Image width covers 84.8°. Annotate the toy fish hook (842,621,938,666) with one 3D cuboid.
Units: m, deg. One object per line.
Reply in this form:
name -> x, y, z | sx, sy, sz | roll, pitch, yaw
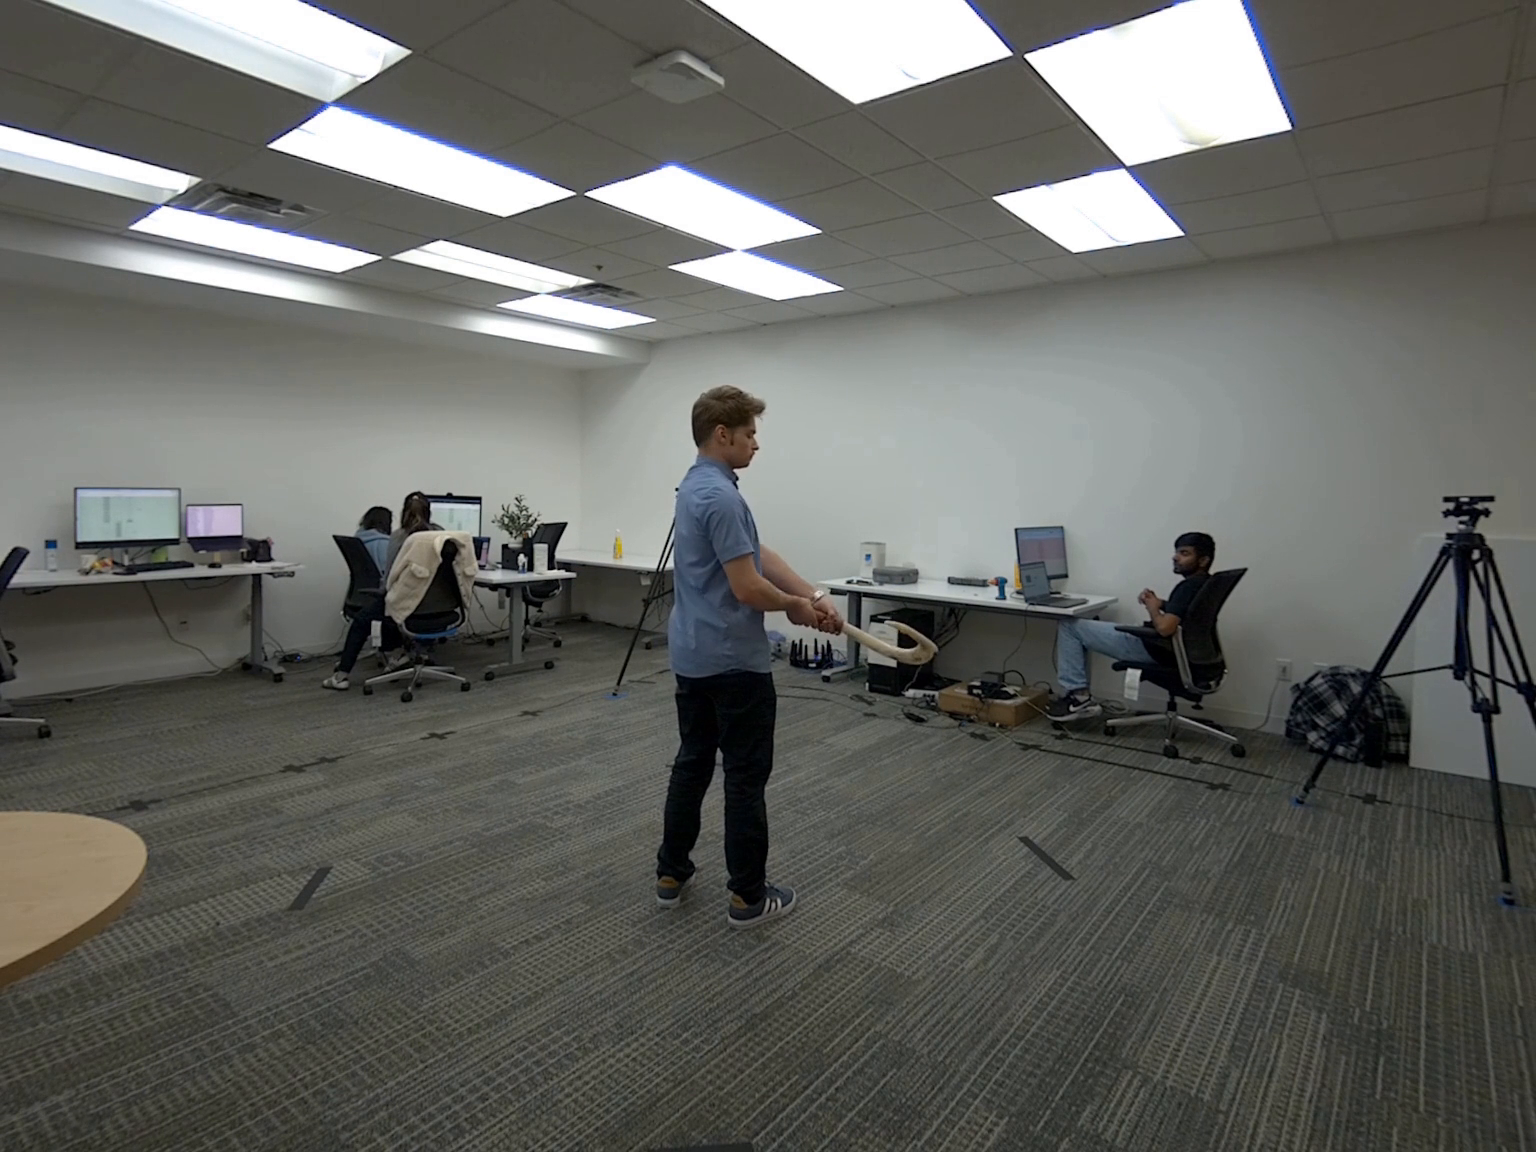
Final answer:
toy fish hook -> 0.286, 0.166, 2.801 | 0.515, 0.049, 0.219 | 20, -34, 12
